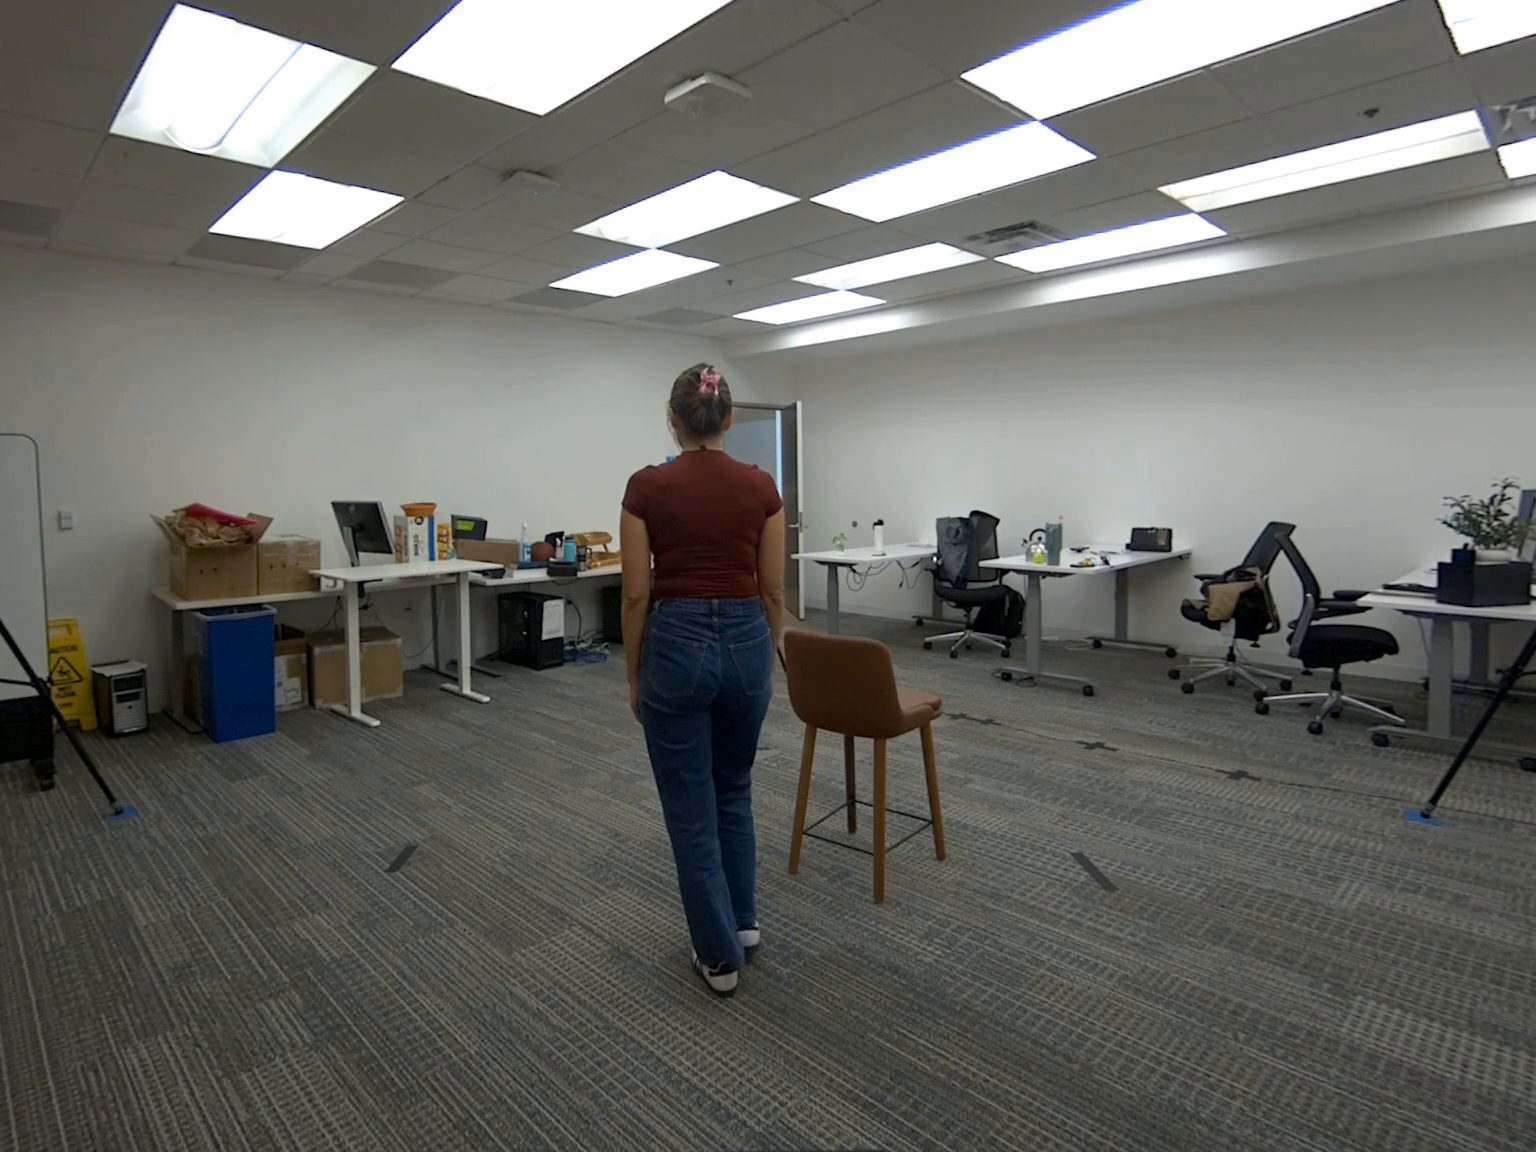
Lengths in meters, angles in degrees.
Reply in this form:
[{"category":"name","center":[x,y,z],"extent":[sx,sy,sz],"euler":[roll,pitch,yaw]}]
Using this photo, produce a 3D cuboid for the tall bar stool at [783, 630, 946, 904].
[{"category":"tall bar stool","center":[0.345,0.610,3.047],"extent":[0.470,0.885,0.456],"euler":[3,7,39]}]
